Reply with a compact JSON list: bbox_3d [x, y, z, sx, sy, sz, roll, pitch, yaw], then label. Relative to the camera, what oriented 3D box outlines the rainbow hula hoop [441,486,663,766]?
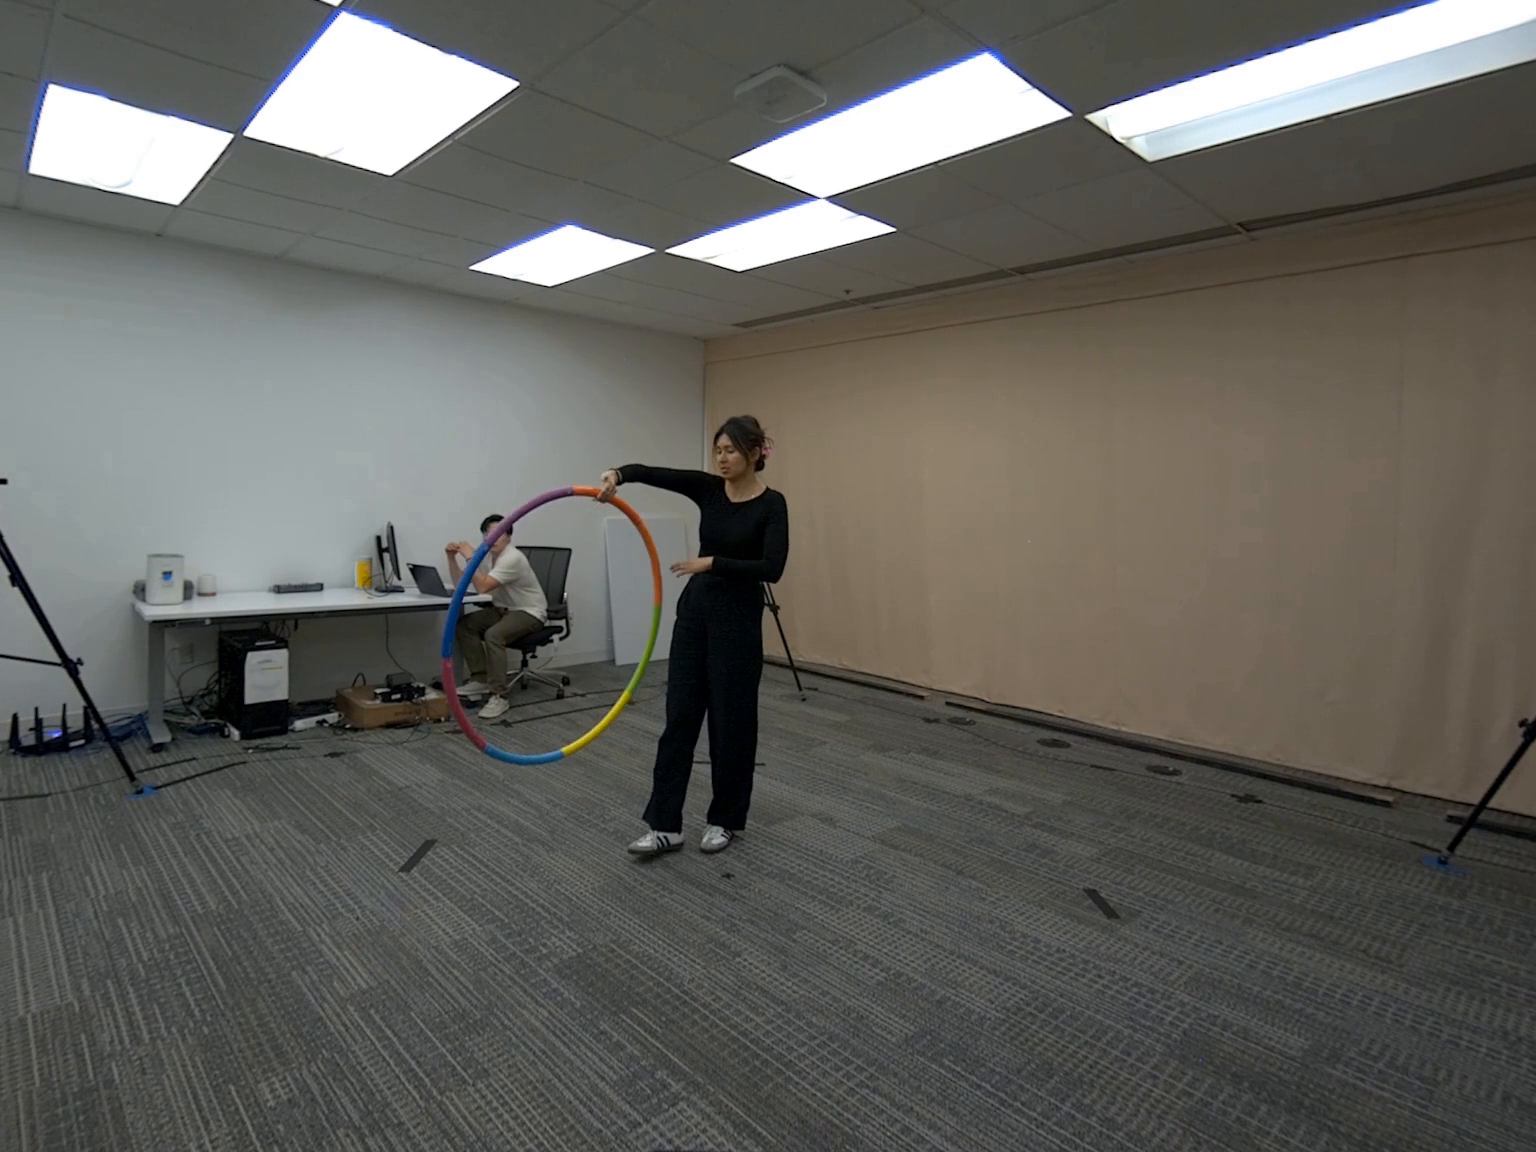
[{"bbox_3d":[-0.703,0.178,2.957,0.053,0.980,0.964,12,10,35],"label":"rainbow hula hoop"}]
